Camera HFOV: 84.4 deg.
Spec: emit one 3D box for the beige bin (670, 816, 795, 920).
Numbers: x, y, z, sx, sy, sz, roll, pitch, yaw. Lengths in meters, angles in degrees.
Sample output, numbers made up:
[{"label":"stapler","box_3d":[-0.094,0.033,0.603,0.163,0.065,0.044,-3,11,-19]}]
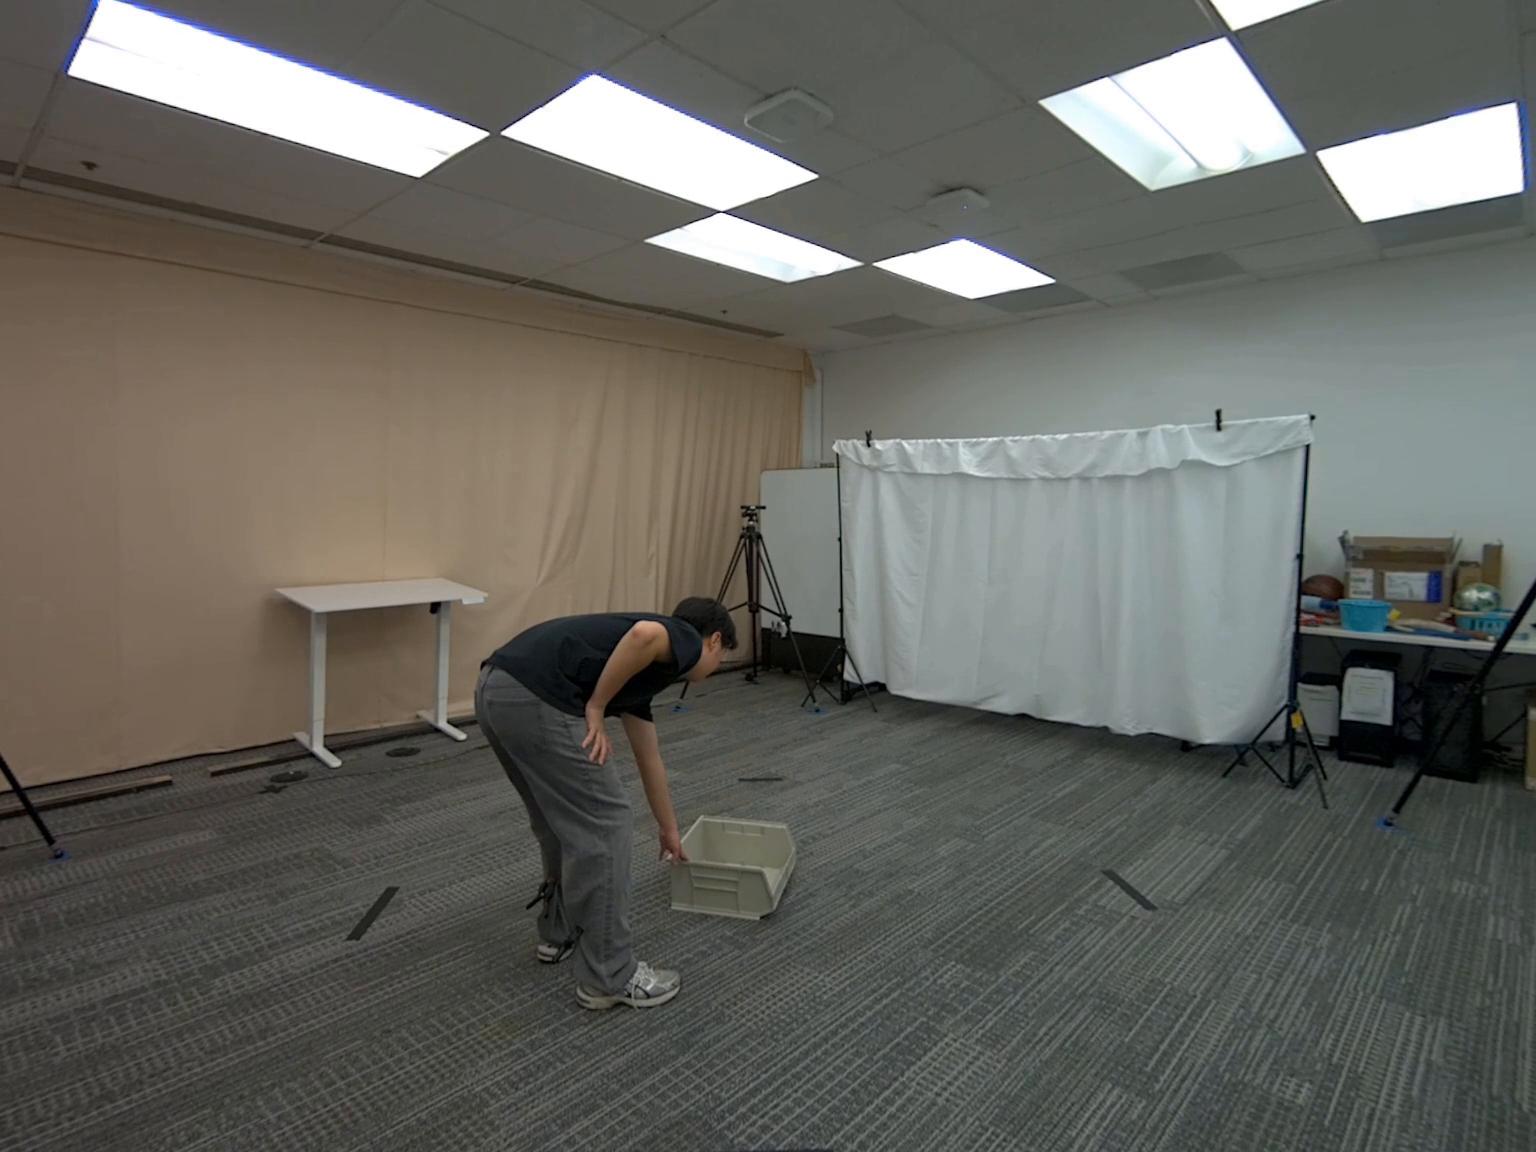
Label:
[{"label":"beige bin","box_3d":[-0.119,1.051,3.054,0.383,0.188,0.417,0,5,13]}]
